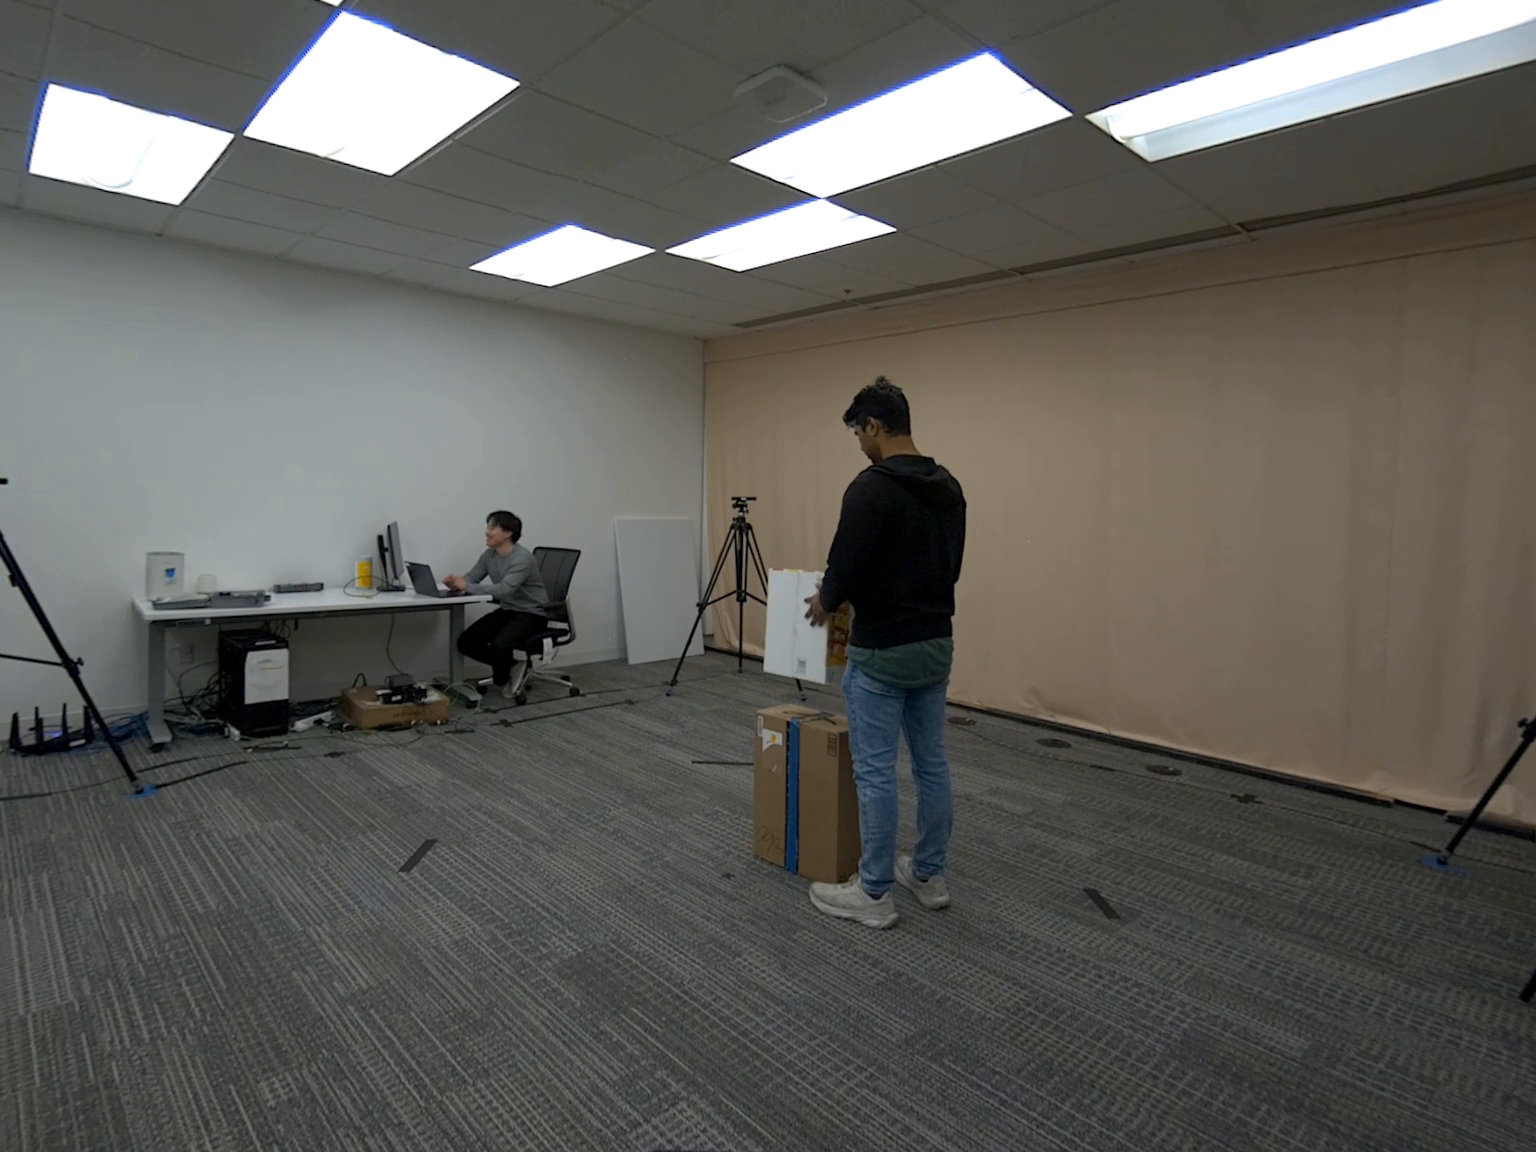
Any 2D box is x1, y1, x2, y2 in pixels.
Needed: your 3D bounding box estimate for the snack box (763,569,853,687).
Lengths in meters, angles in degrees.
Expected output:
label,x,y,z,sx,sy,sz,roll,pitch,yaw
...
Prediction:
label,x,y,z,sx,sy,sz,roll,pitch,yaw
snack box,0.172,0.180,3.206,0.201,0.405,0.349,3,0,-41
